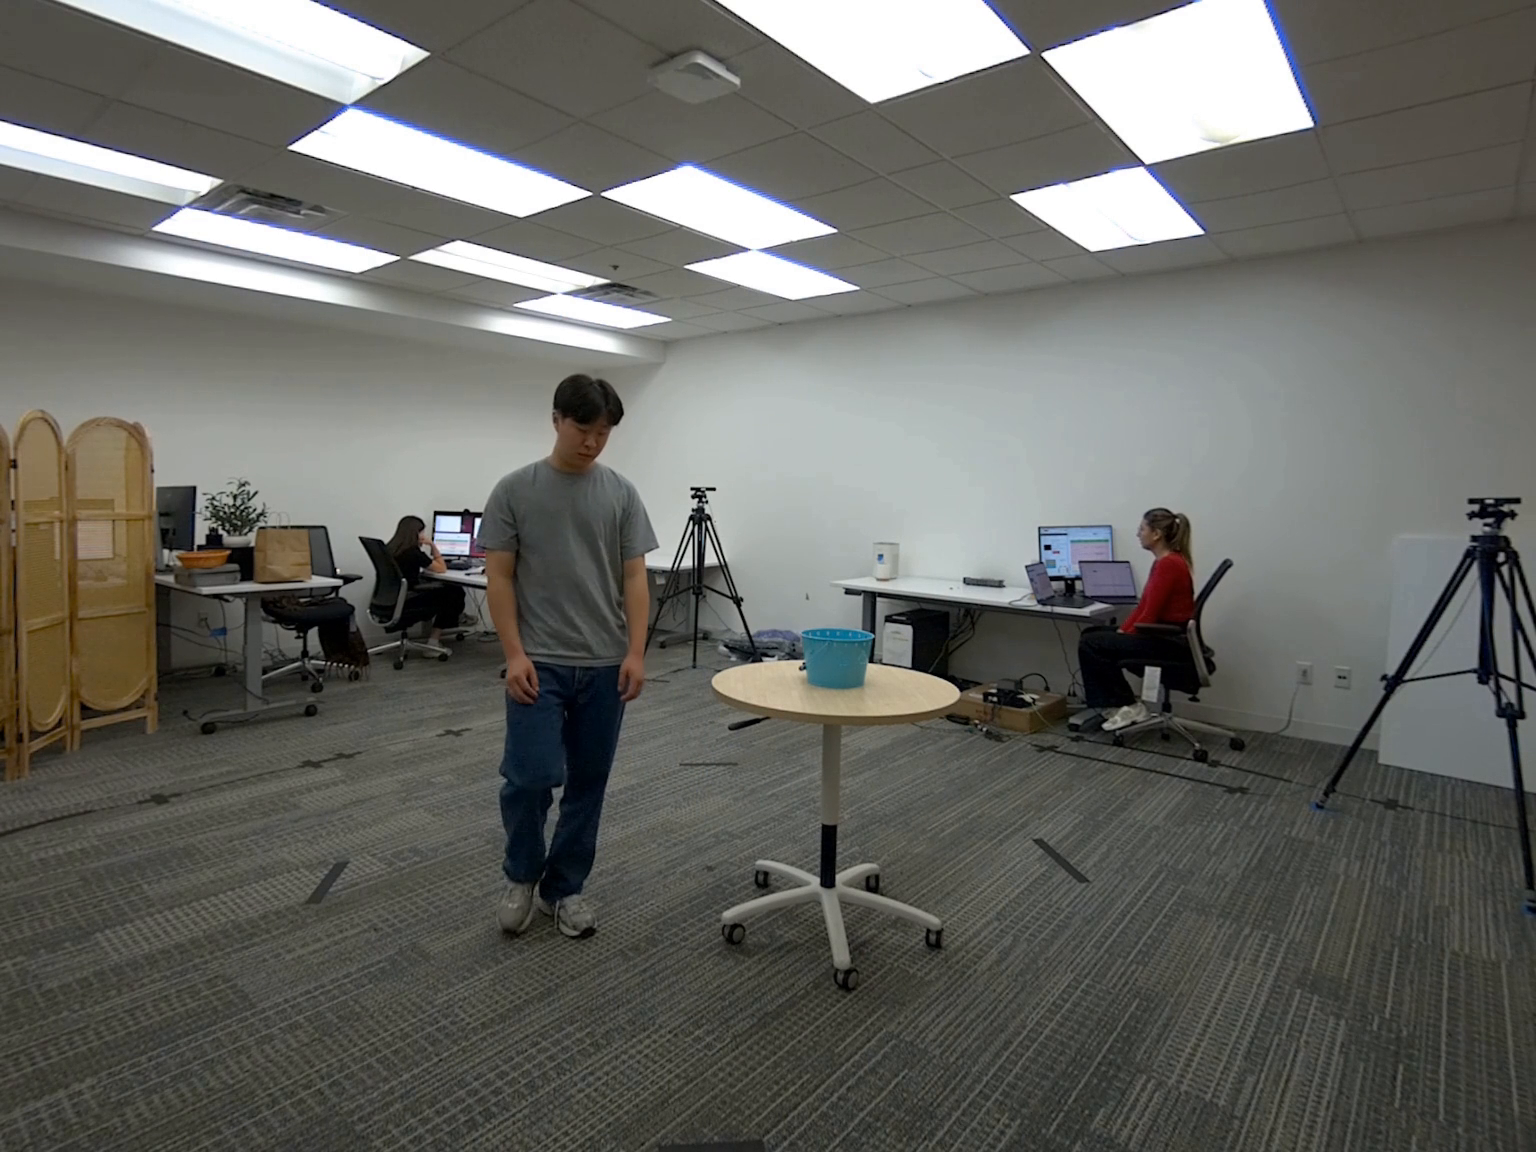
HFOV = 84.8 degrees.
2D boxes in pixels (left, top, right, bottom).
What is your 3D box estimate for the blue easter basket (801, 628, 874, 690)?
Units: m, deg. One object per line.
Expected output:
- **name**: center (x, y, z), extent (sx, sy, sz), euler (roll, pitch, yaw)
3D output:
- **blue easter basket**: center (0.205, 0.260, 2.689), extent (0.243, 0.155, 0.245), euler (2, 6, -2)
